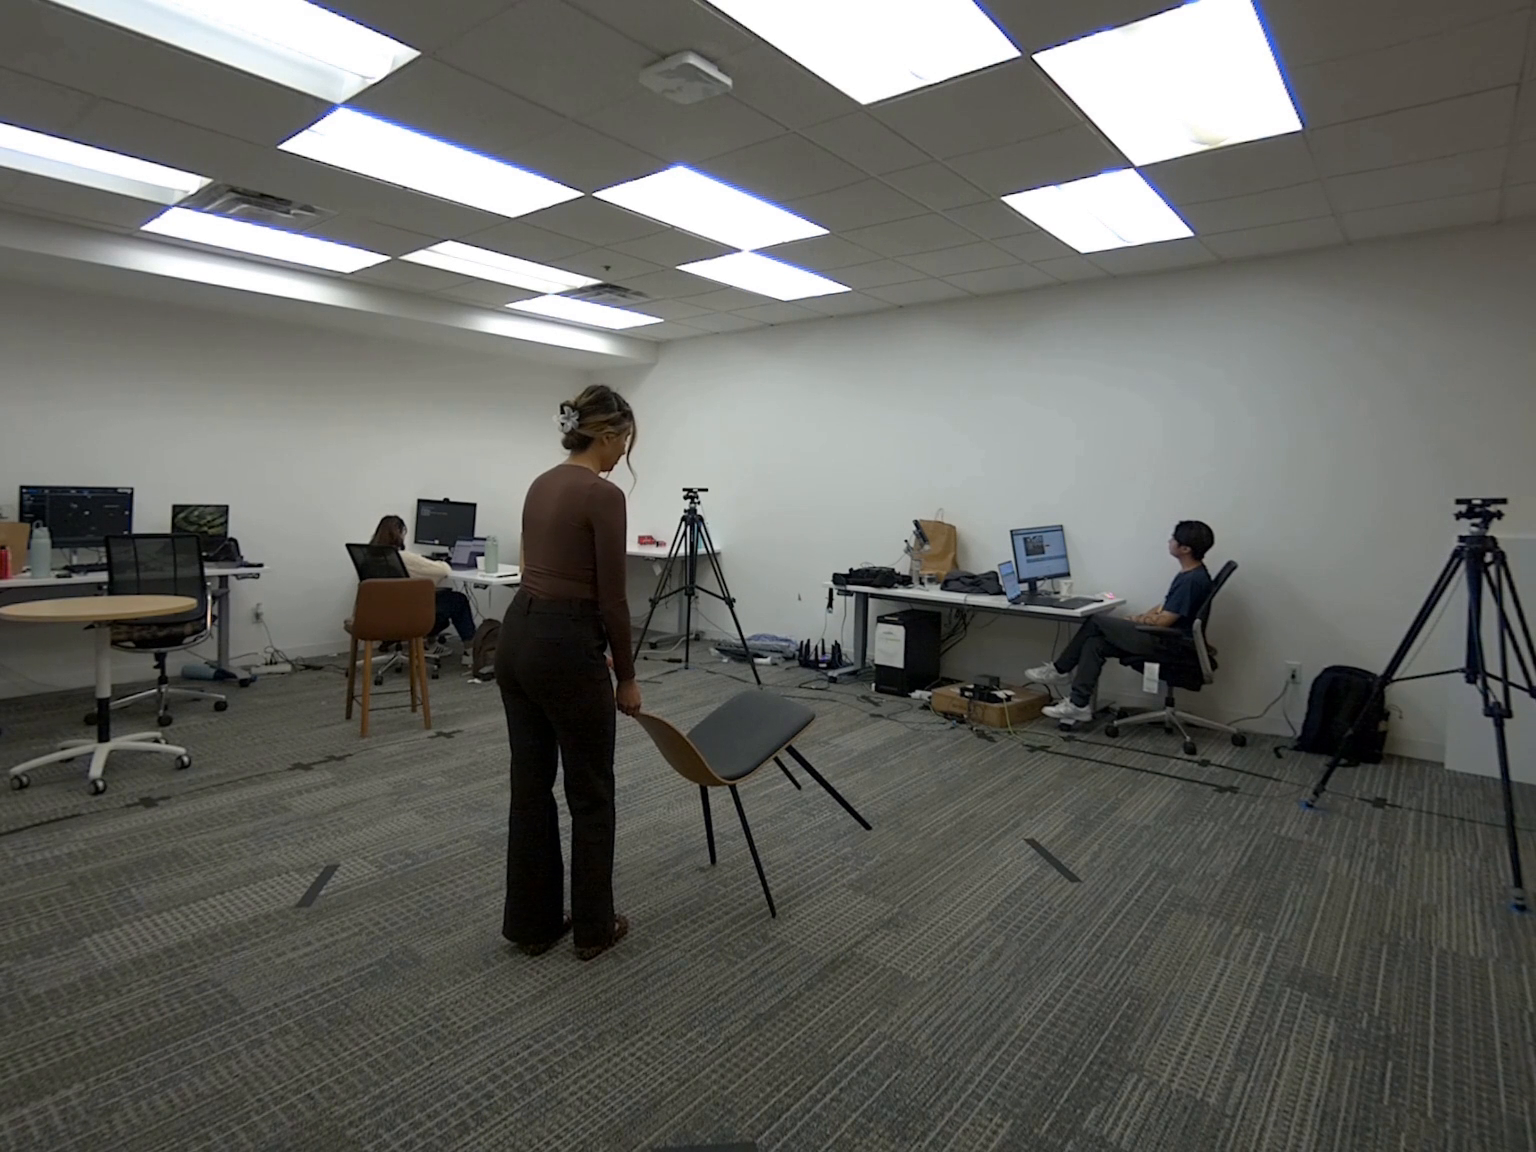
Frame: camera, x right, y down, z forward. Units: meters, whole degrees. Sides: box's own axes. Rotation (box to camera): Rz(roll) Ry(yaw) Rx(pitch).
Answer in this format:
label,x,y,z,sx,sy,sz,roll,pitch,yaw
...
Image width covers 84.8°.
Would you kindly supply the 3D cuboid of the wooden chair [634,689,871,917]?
label,x,y,z,sx,sy,sz,roll,pitch,yaw
wooden chair,-0.112,0.601,2.924,0.520,0.857,0.492,-38,20,-21
